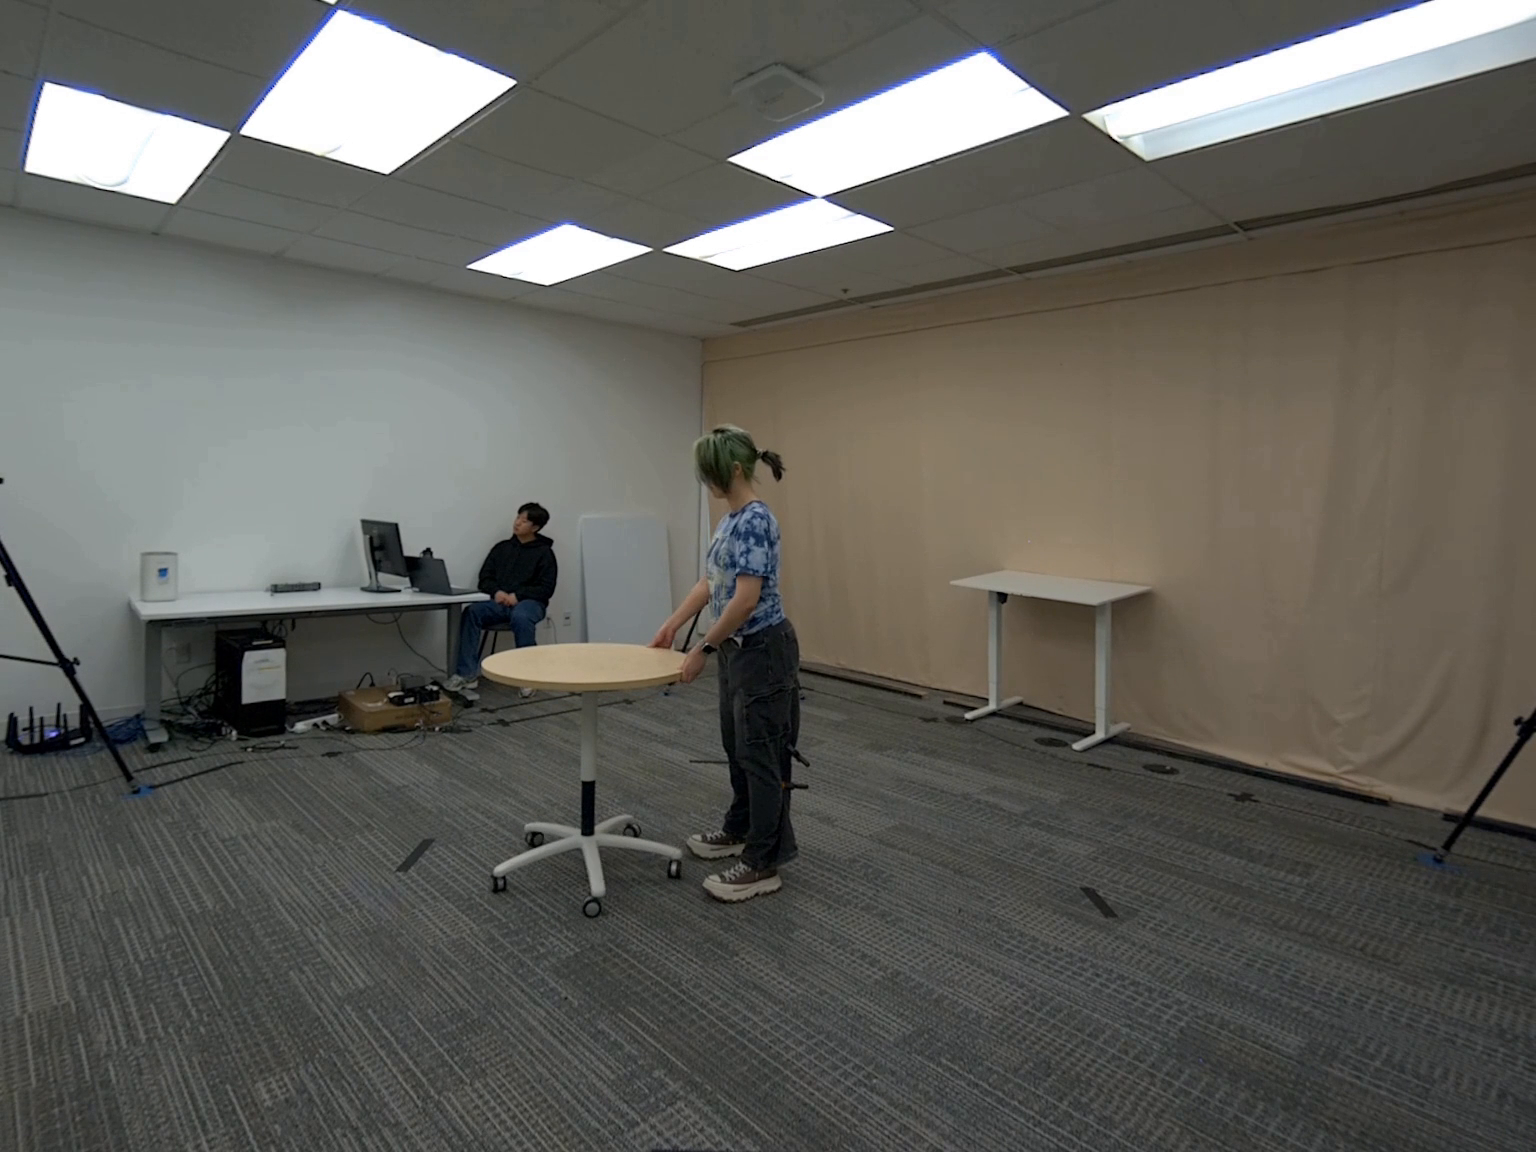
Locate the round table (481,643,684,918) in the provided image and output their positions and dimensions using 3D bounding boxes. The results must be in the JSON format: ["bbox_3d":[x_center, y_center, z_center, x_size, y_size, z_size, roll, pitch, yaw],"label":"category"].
[{"bbox_3d":[-0.669,0.704,3.090,0.763,0.792,0.766,1,4,-1],"label":"round table"}]
